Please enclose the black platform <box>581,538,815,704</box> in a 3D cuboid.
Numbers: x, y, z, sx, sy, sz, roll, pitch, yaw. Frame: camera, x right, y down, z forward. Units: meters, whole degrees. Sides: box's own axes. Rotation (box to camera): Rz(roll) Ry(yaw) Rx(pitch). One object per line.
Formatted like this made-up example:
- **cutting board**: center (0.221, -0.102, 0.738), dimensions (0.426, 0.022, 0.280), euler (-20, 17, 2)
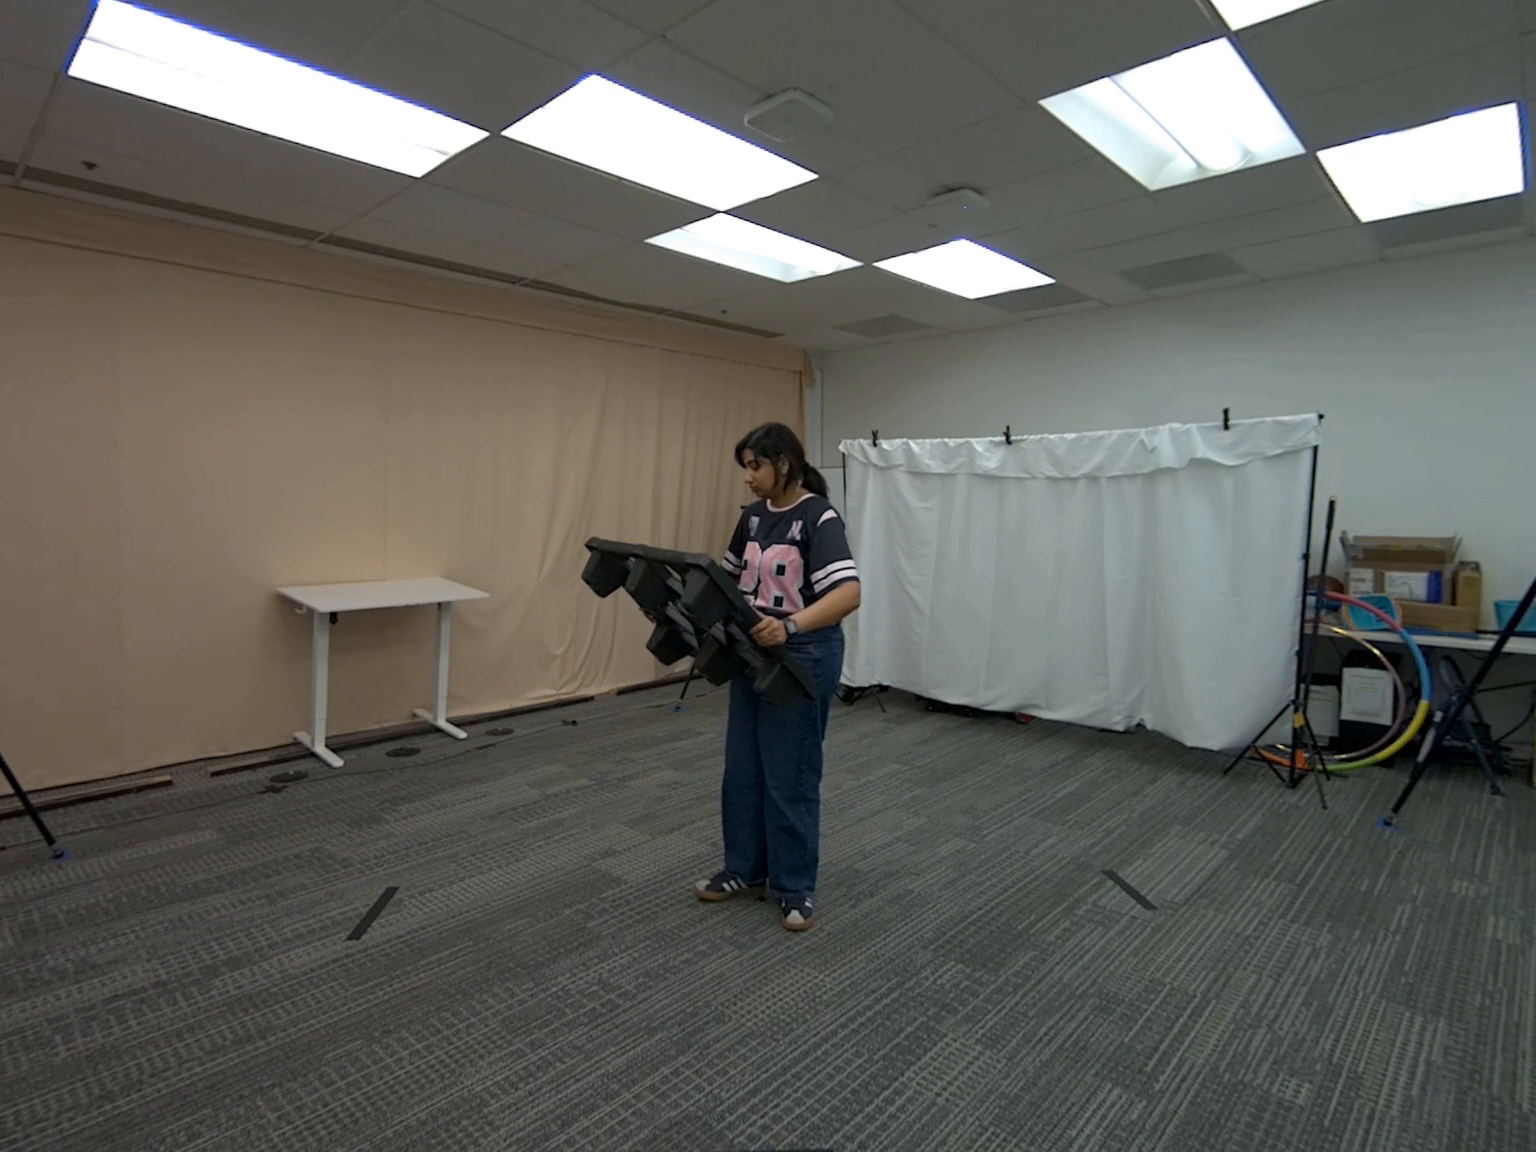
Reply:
- **black platform**: center (-0.265, 0.157, 2.724), dimensions (0.142, 0.589, 0.831), euler (-48, 29, -21)
